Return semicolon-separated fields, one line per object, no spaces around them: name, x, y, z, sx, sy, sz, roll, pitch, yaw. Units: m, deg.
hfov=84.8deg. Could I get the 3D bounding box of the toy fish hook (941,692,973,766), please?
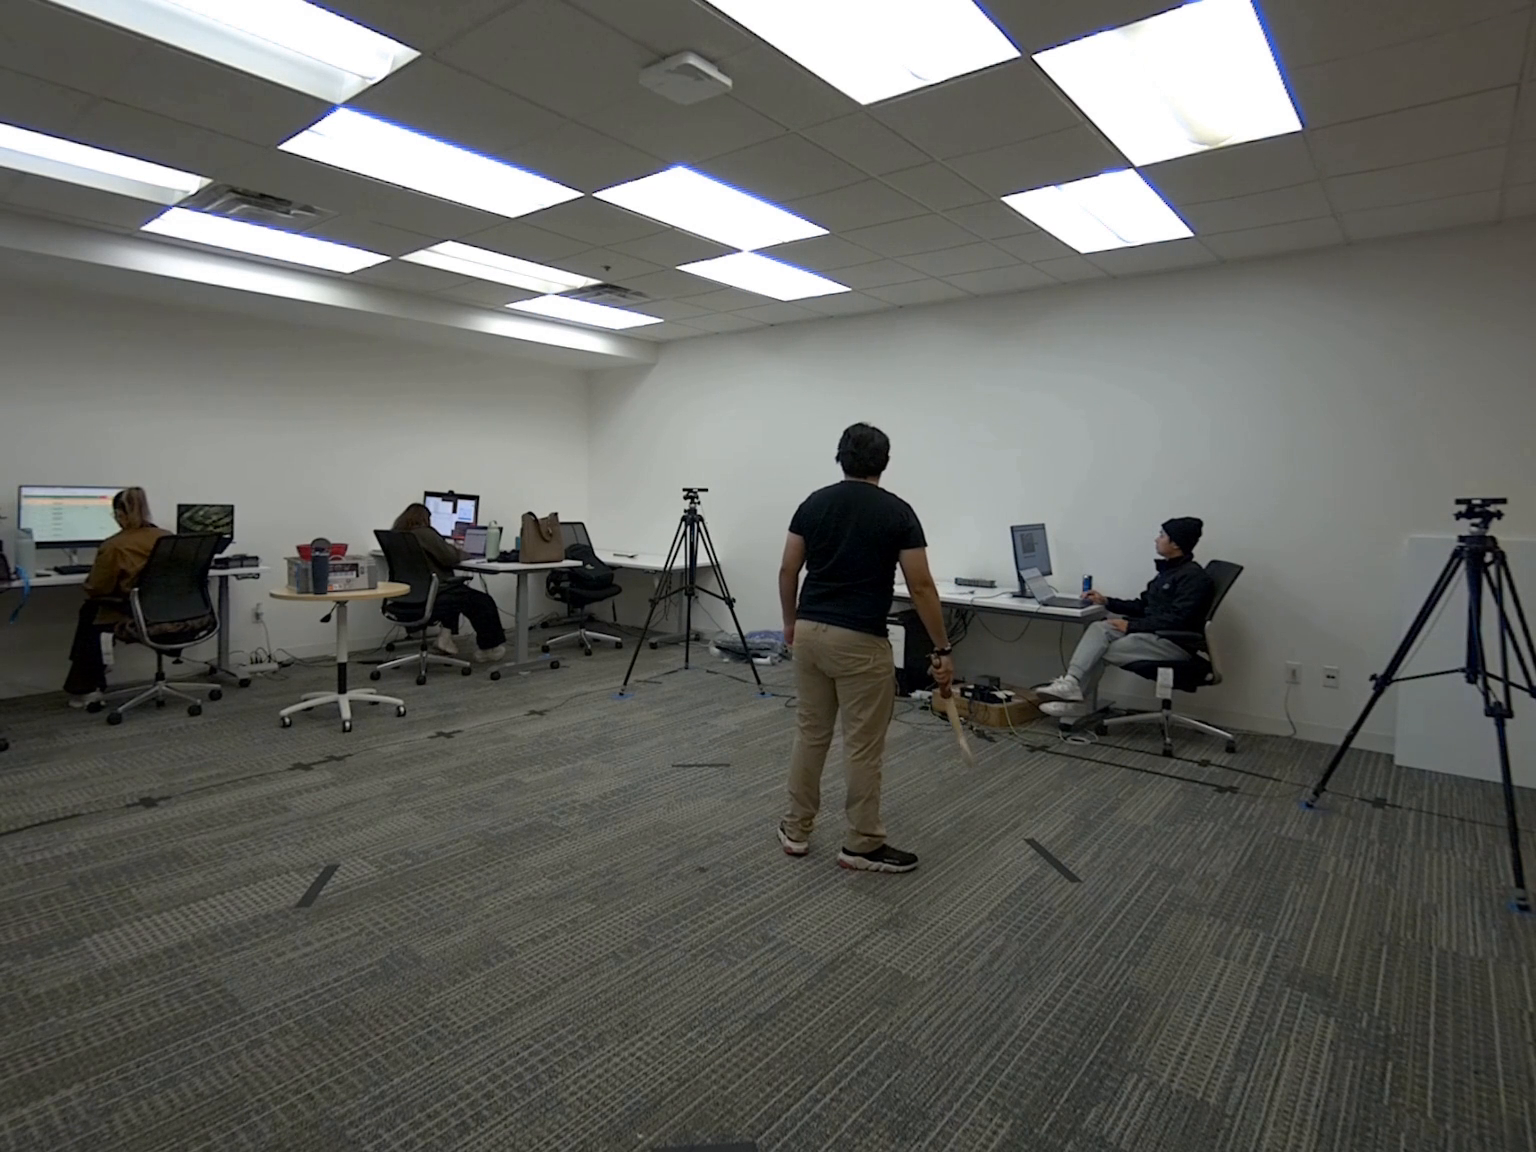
toy fish hook;0.695;0.512;3.203;0.048;0.490;0.231;-22;30;5
